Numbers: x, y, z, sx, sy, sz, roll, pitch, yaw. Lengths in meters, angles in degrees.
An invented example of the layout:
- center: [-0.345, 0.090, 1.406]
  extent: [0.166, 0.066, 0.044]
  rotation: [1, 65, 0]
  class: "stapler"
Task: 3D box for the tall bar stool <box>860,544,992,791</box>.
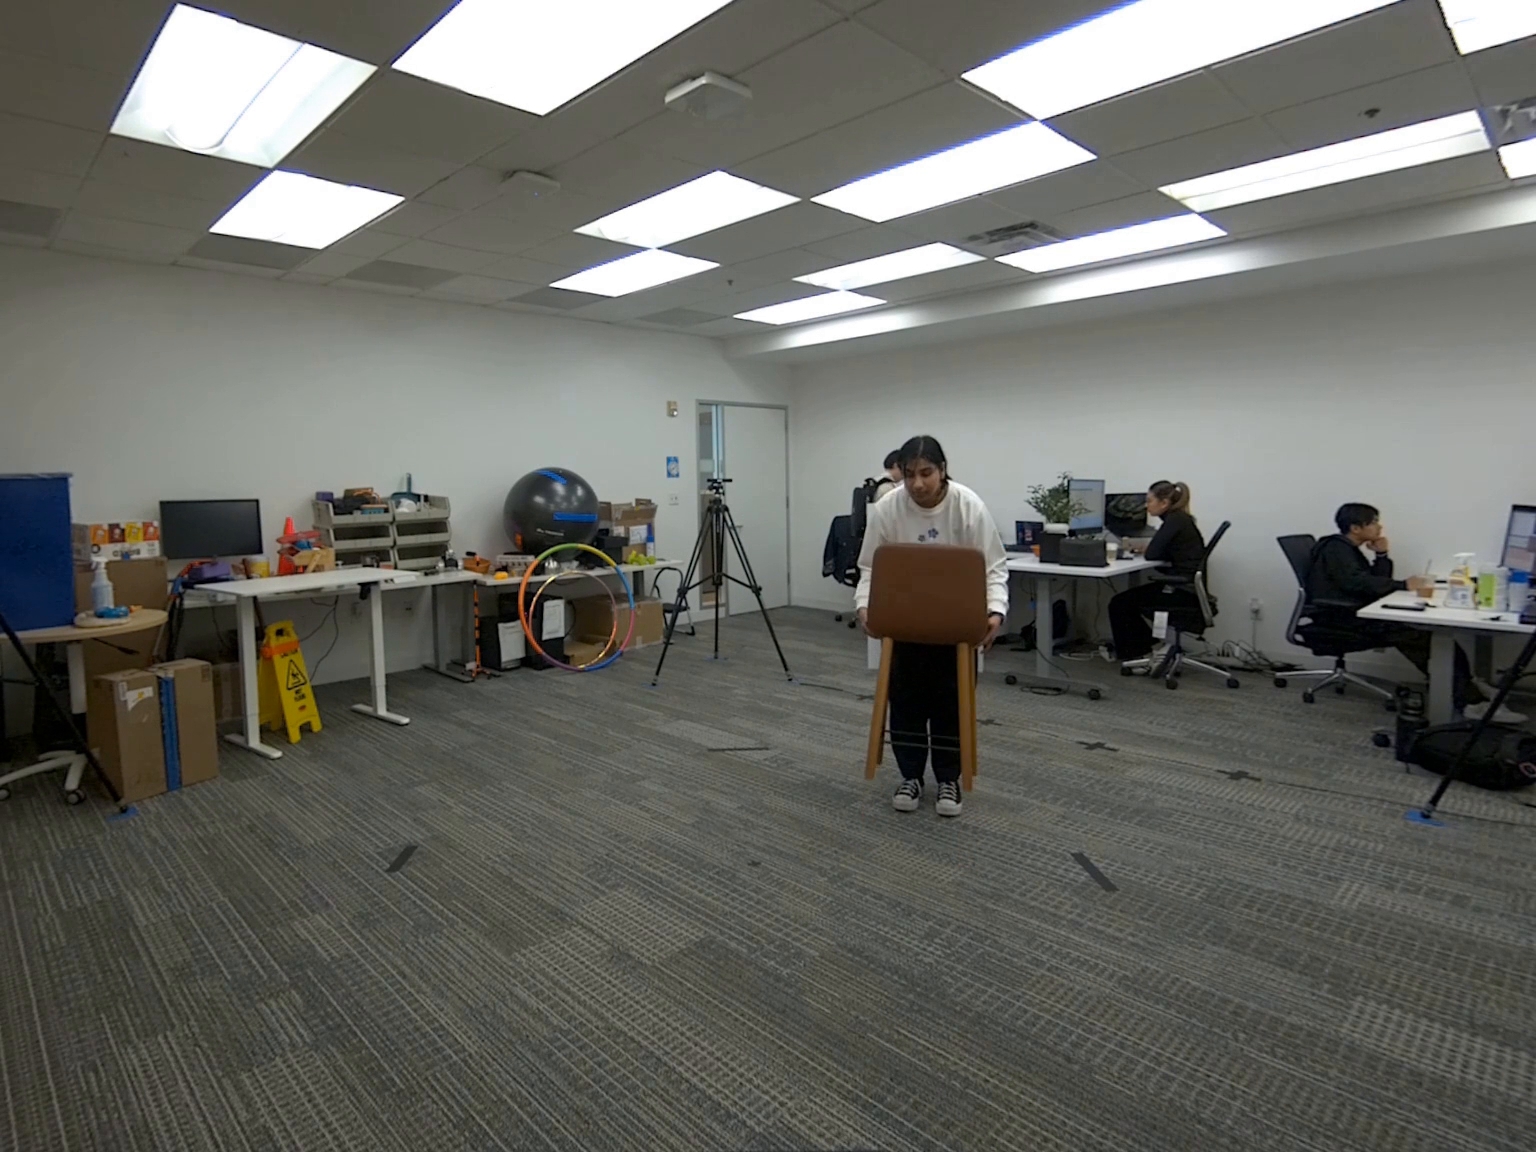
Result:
- center: [0.616, 0.348, 3.332]
  extent: [0.464, 0.893, 0.458]
  rotation: [2, -5, 16]
  class: "tall bar stool"
